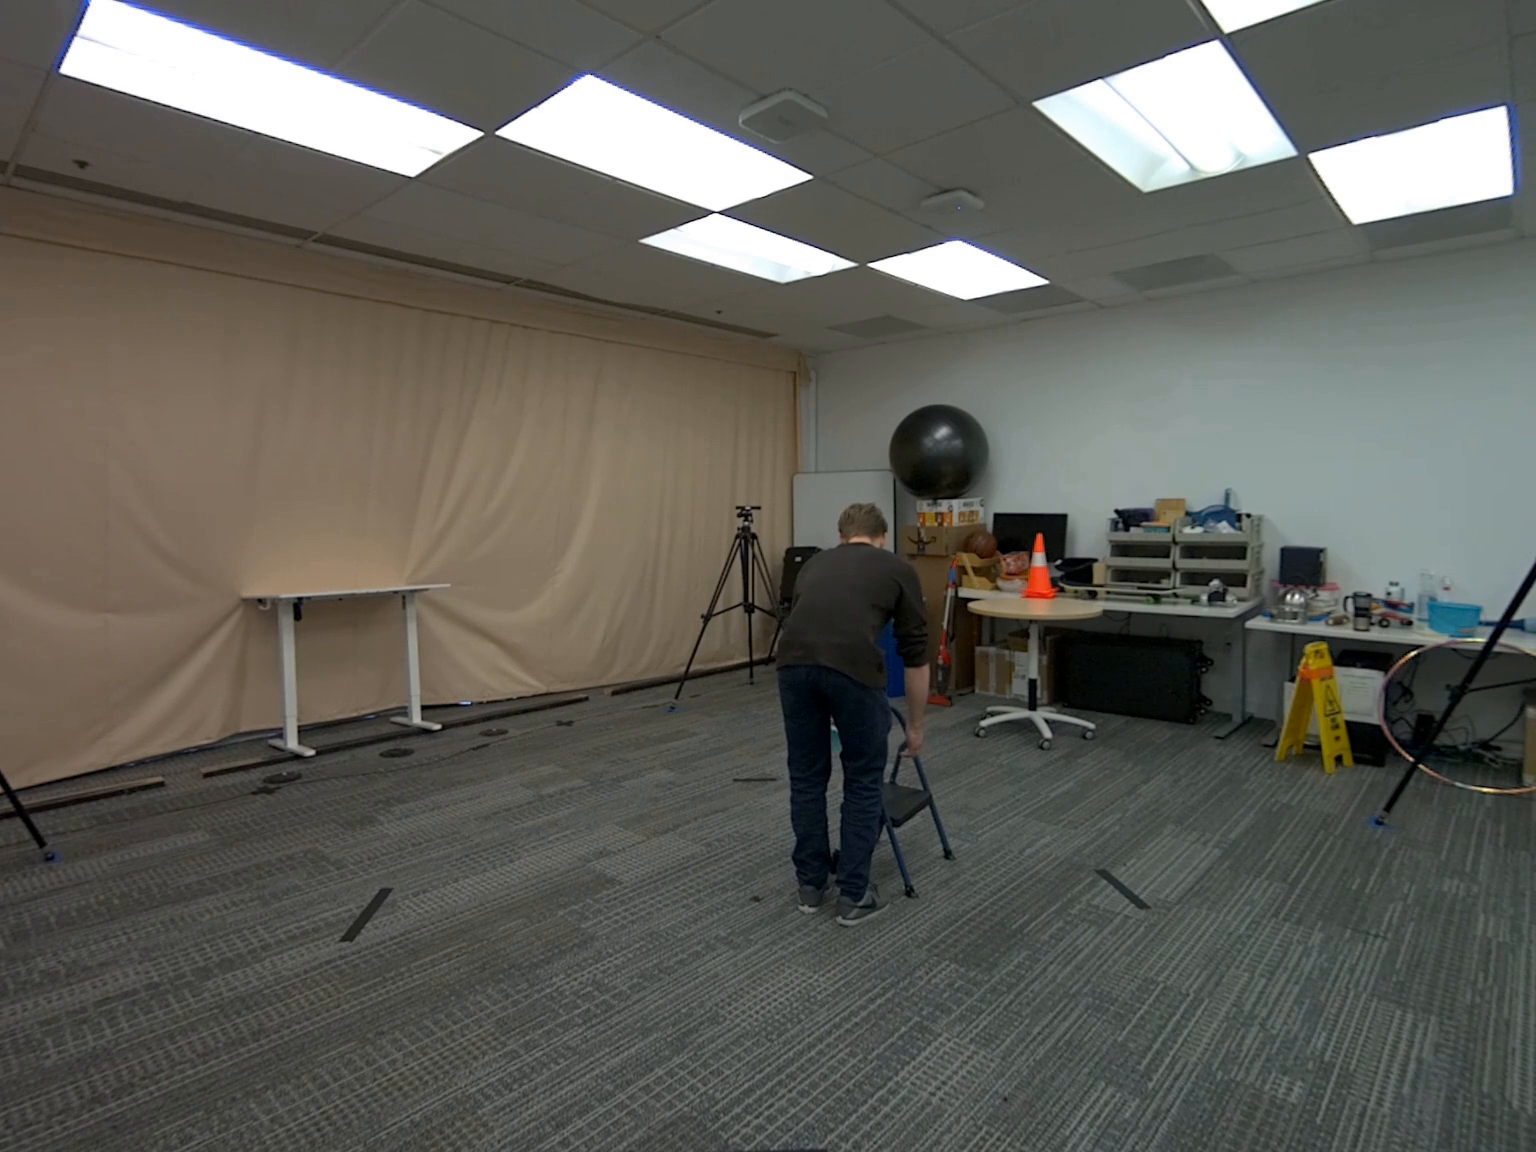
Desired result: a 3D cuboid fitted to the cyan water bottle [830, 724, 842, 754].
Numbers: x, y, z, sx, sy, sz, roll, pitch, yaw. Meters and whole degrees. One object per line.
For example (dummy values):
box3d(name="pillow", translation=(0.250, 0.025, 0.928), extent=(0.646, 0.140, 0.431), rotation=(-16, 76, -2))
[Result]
box3d(name="cyan water bottle", translation=(0.248, 0.620, 3.348), extent=(0.092, 0.092, 0.283), rotation=(0, 3, 0))
